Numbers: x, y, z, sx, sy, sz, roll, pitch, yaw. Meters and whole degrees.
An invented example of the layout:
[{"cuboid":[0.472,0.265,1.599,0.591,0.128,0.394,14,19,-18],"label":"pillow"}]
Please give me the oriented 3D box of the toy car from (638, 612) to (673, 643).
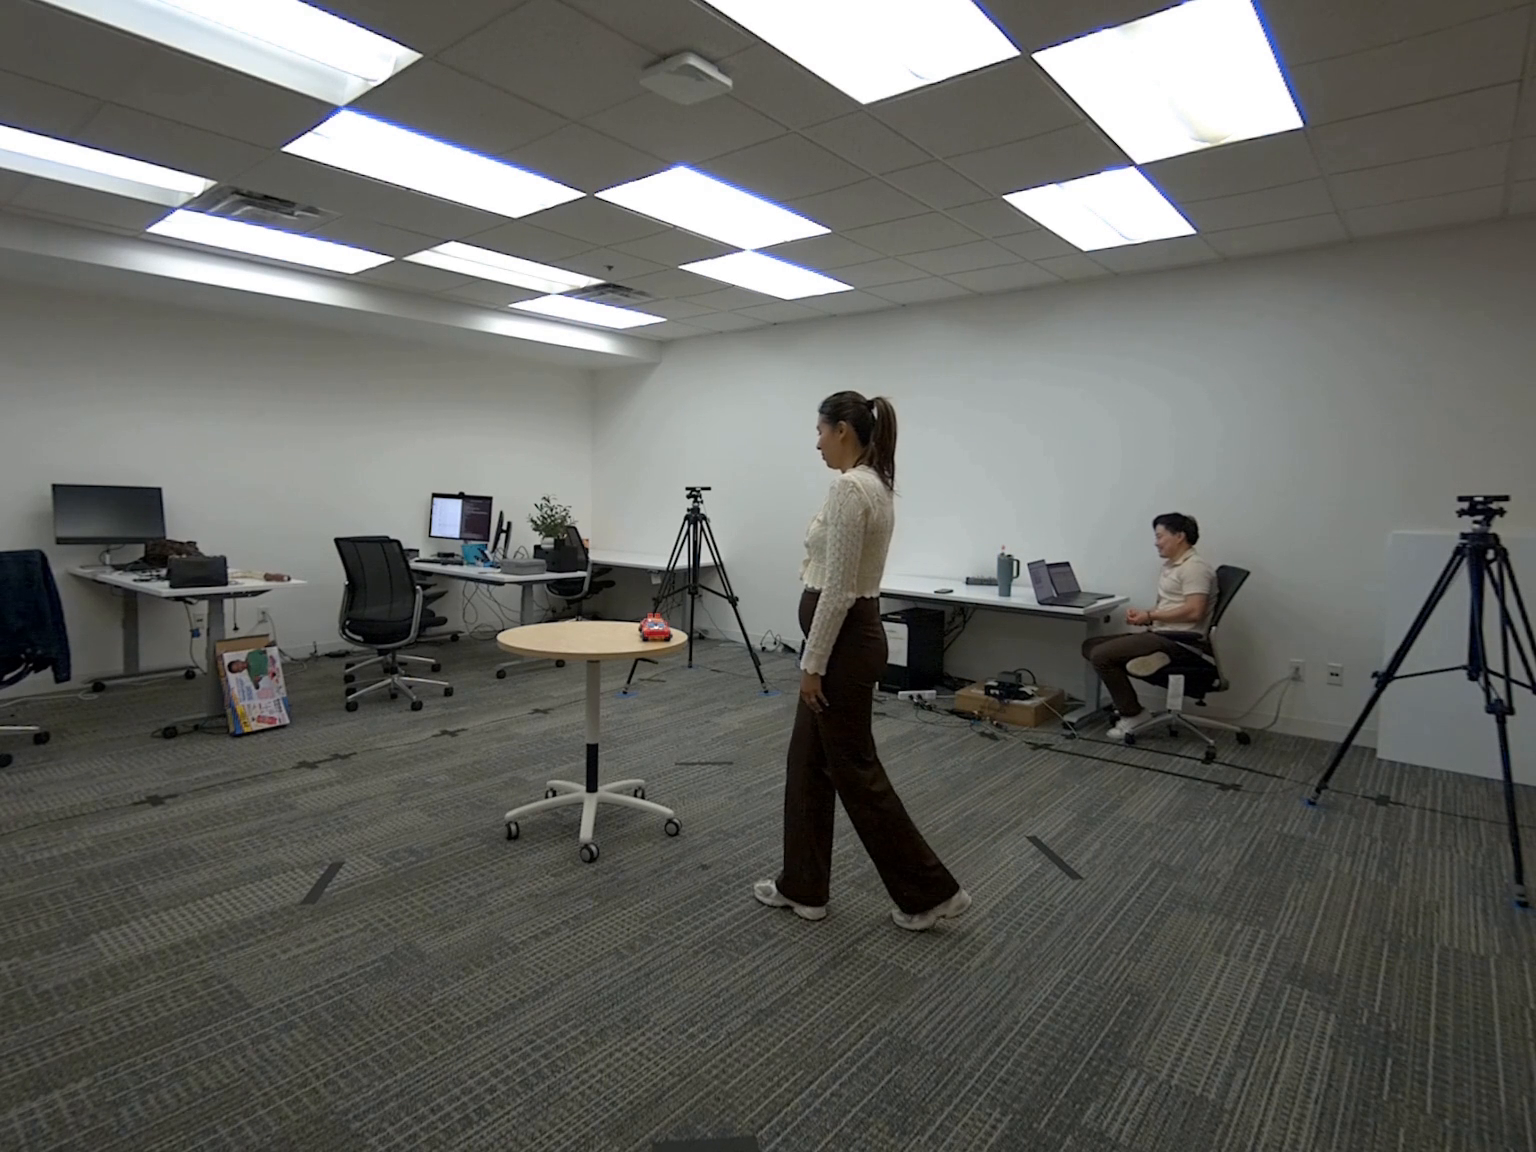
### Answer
[{"cuboid":[-0.473,0.210,3.472,0.129,0.082,0.260,1,18,-9],"label":"toy car"}]
